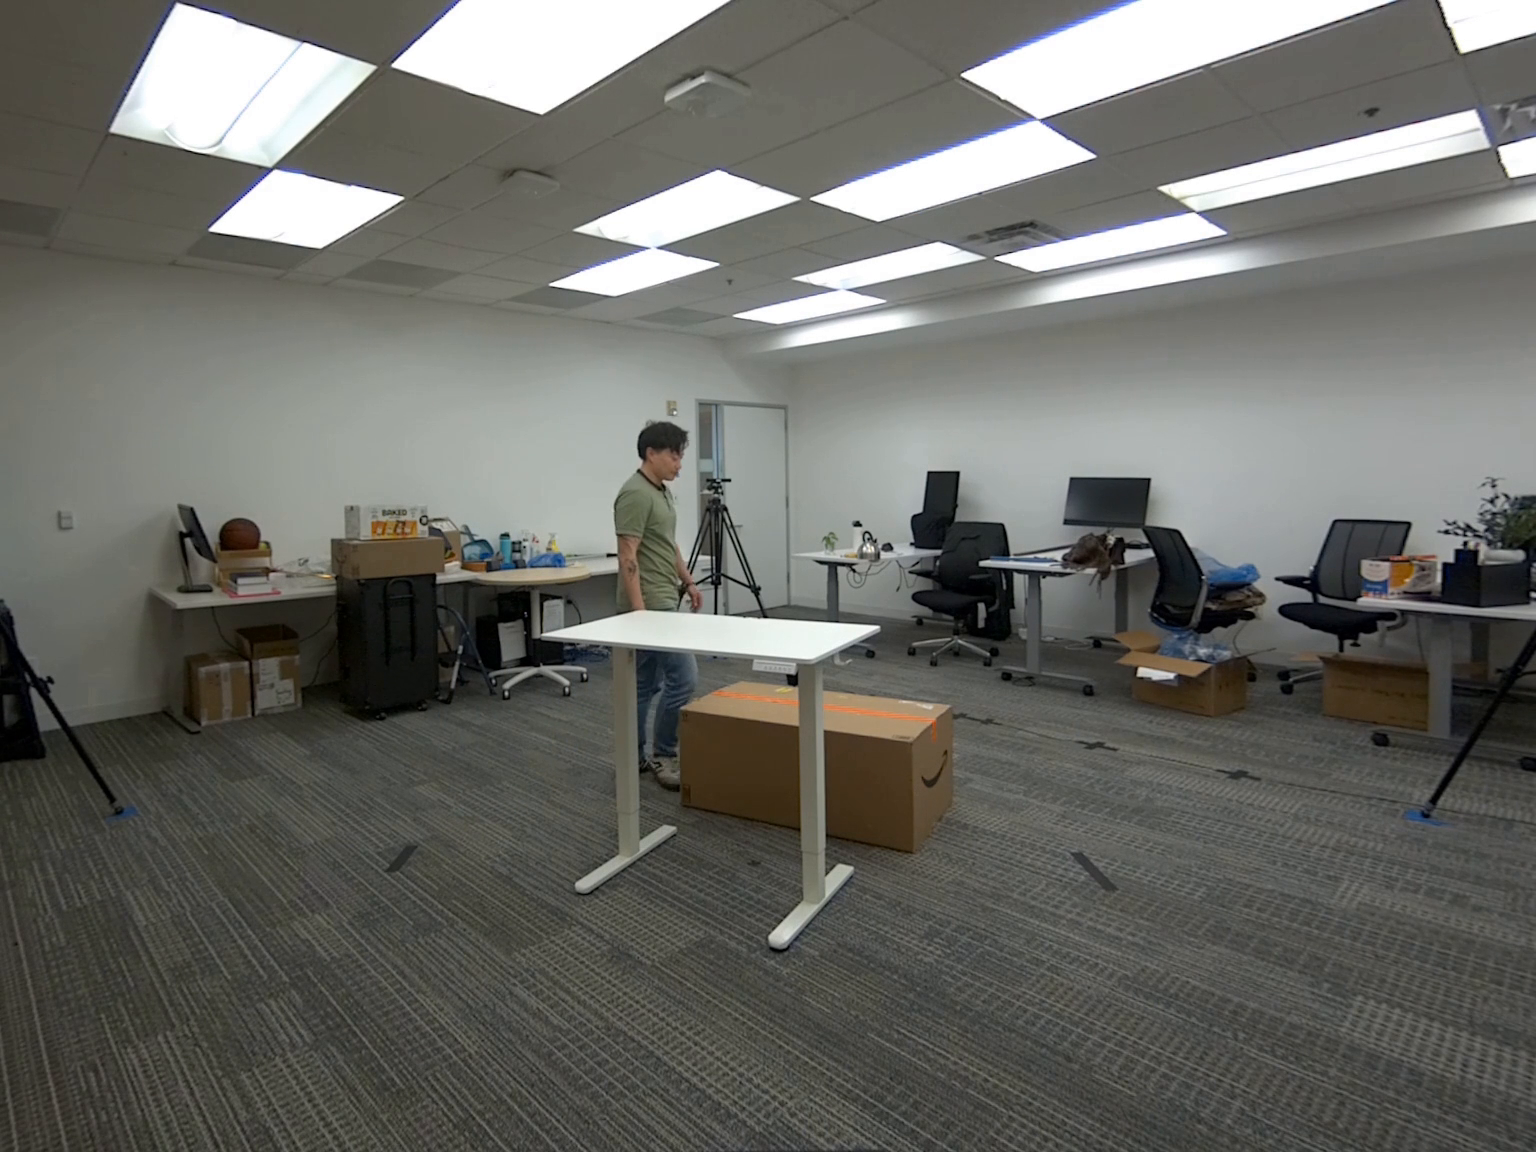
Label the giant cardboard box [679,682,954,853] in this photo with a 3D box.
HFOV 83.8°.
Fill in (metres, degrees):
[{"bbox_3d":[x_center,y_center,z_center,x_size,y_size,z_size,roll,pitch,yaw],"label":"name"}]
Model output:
[{"bbox_3d":[0.204,0.764,3.638,1.052,0.425,0.565,2,5,29],"label":"giant cardboard box"}]
